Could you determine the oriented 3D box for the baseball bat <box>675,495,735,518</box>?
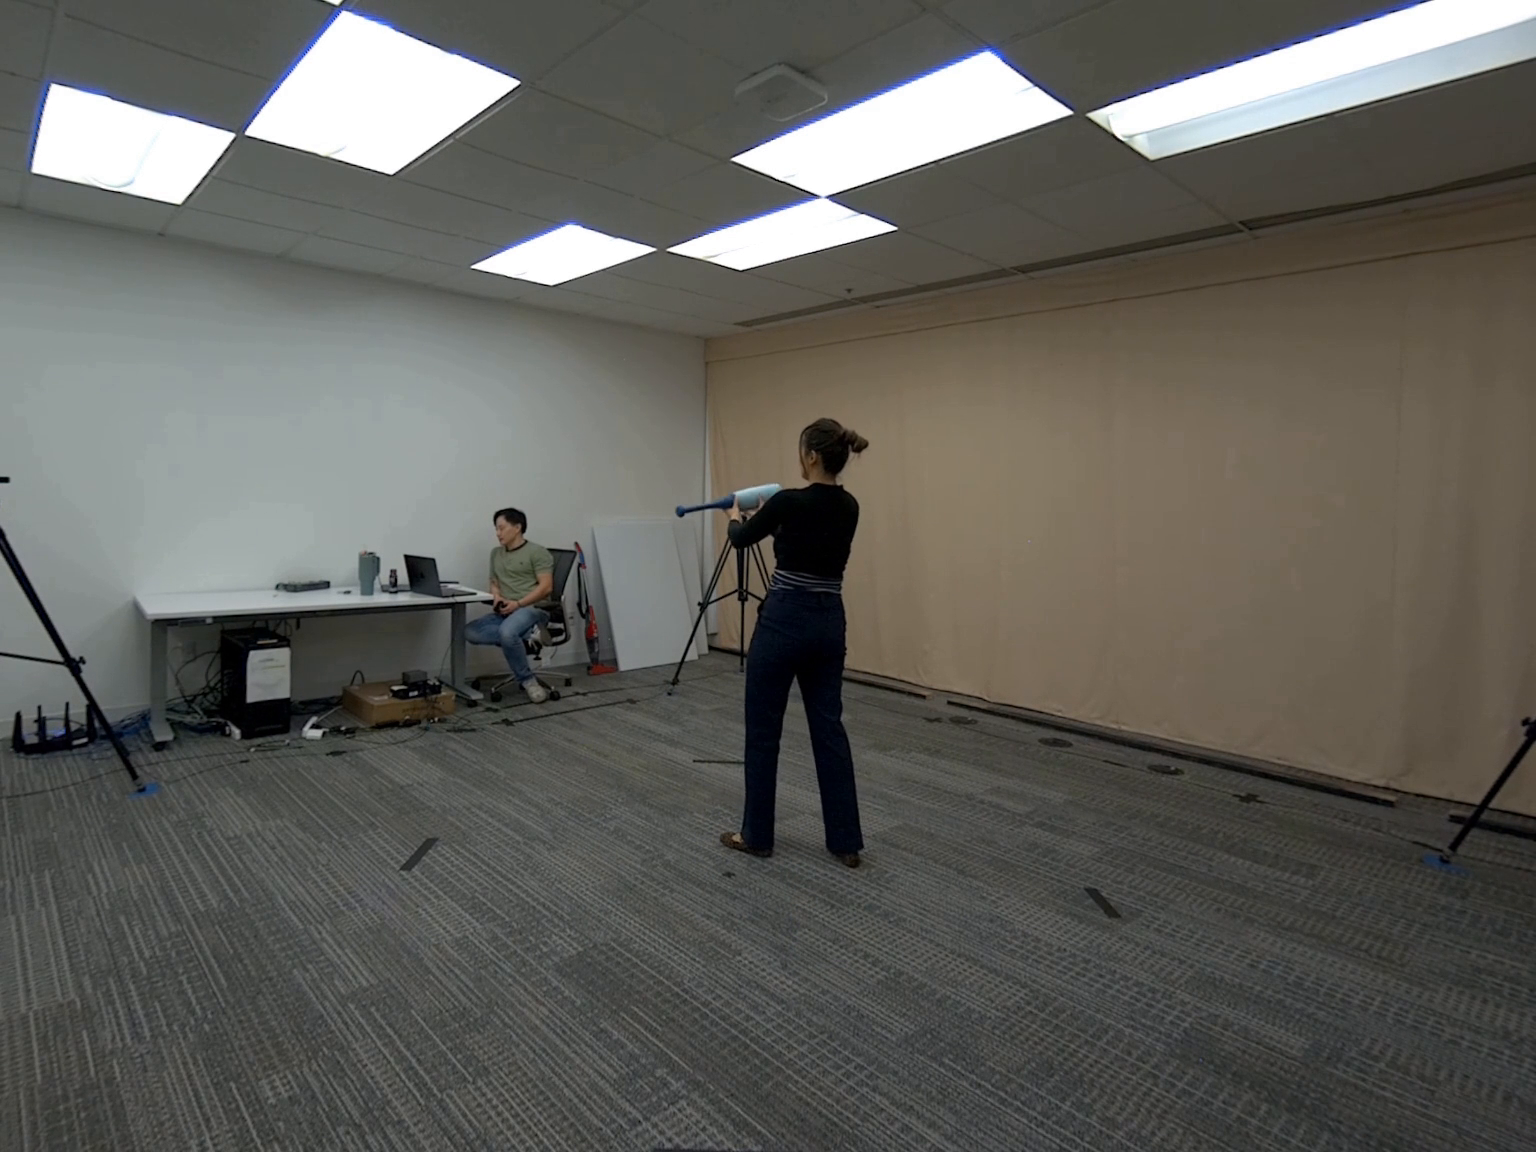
[{"bbox_3d":[-0.167,-0.319,3.636,0.534,0.088,0.091,-15,13,-35],"label":"baseball bat"}]
